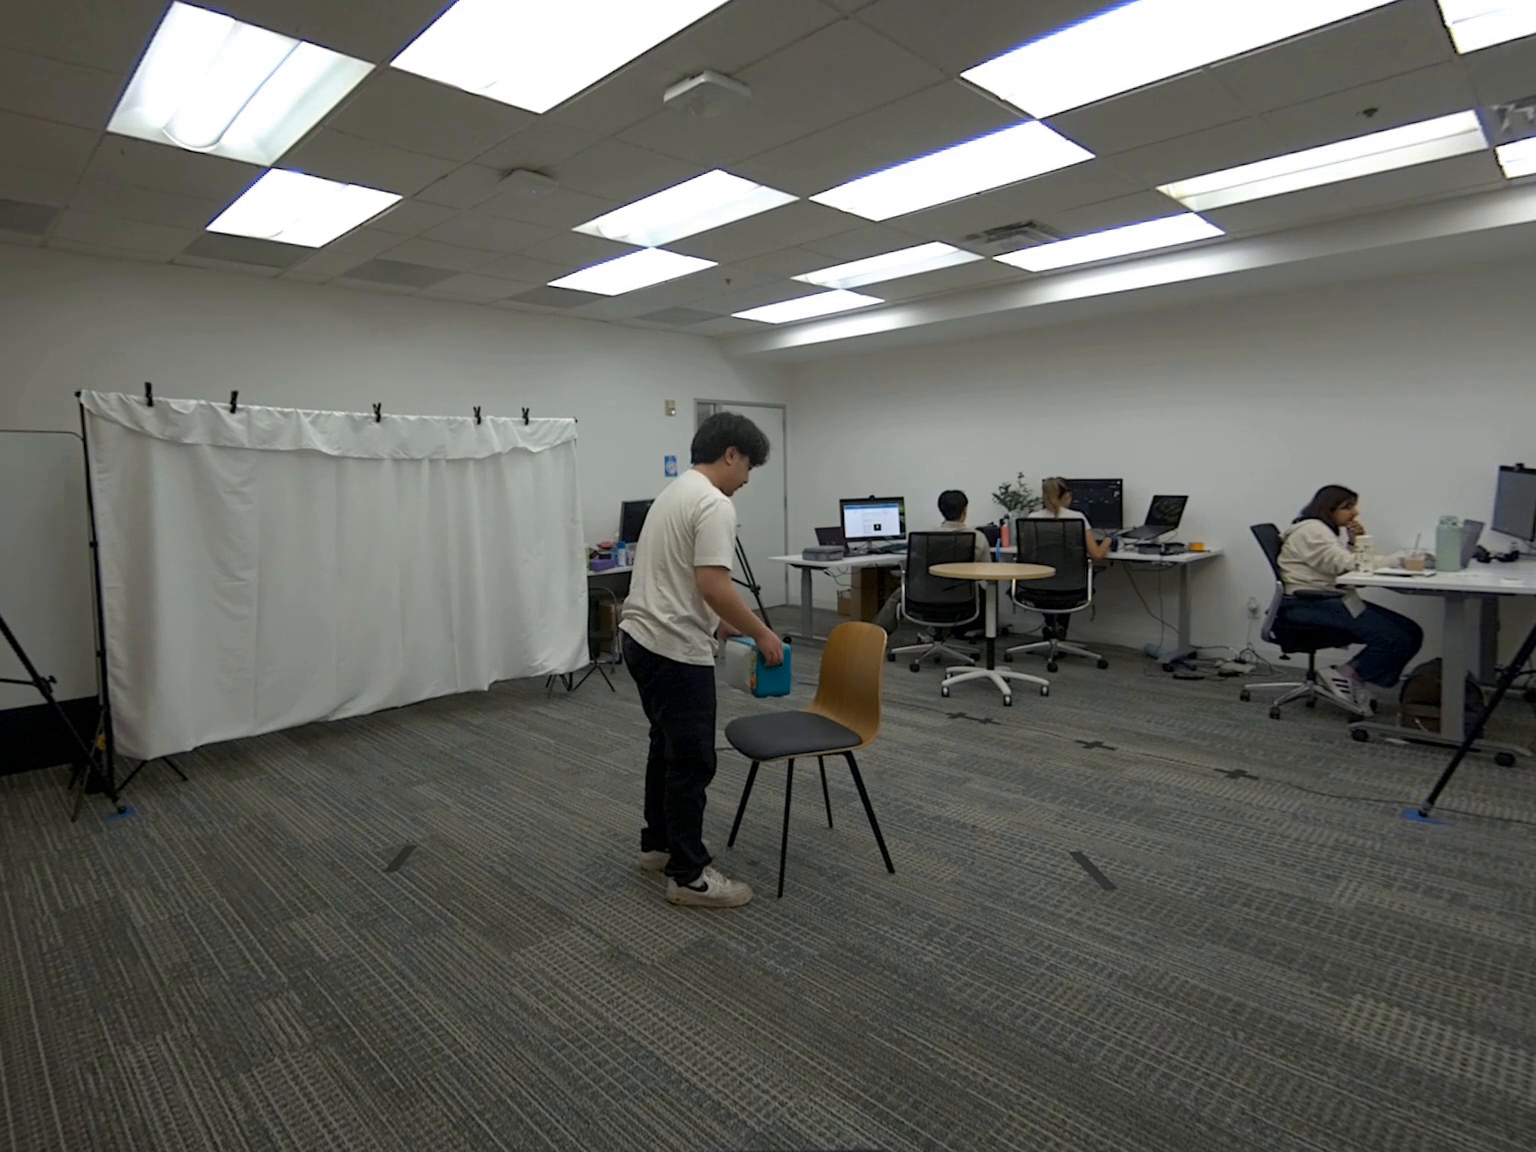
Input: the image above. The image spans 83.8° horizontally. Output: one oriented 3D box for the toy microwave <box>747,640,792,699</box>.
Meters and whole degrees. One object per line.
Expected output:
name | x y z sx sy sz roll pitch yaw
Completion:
toy microwave | -0.046 0.322 3.013 0.149 0.184 0.292 0 2 -24
